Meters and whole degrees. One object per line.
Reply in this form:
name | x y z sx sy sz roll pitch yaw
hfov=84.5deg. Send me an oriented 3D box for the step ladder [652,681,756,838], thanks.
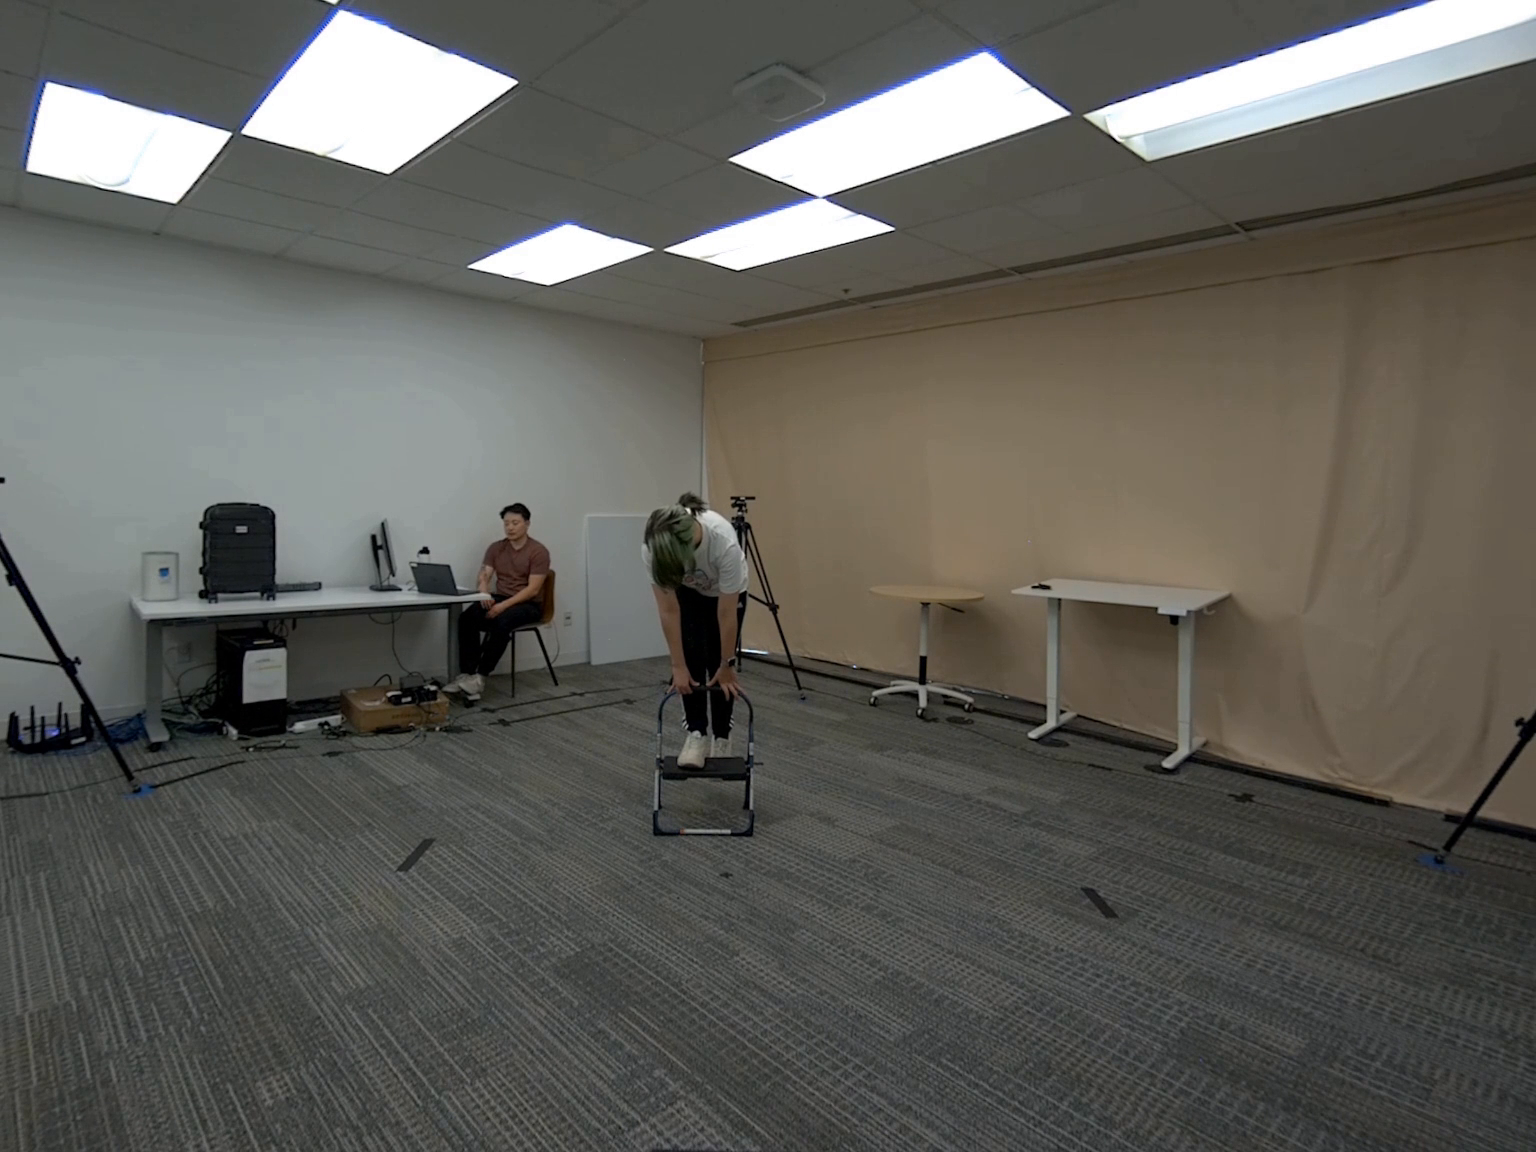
step ladder | -0.280 0.759 3.615 0.429 0.605 0.351 2 3 -4
